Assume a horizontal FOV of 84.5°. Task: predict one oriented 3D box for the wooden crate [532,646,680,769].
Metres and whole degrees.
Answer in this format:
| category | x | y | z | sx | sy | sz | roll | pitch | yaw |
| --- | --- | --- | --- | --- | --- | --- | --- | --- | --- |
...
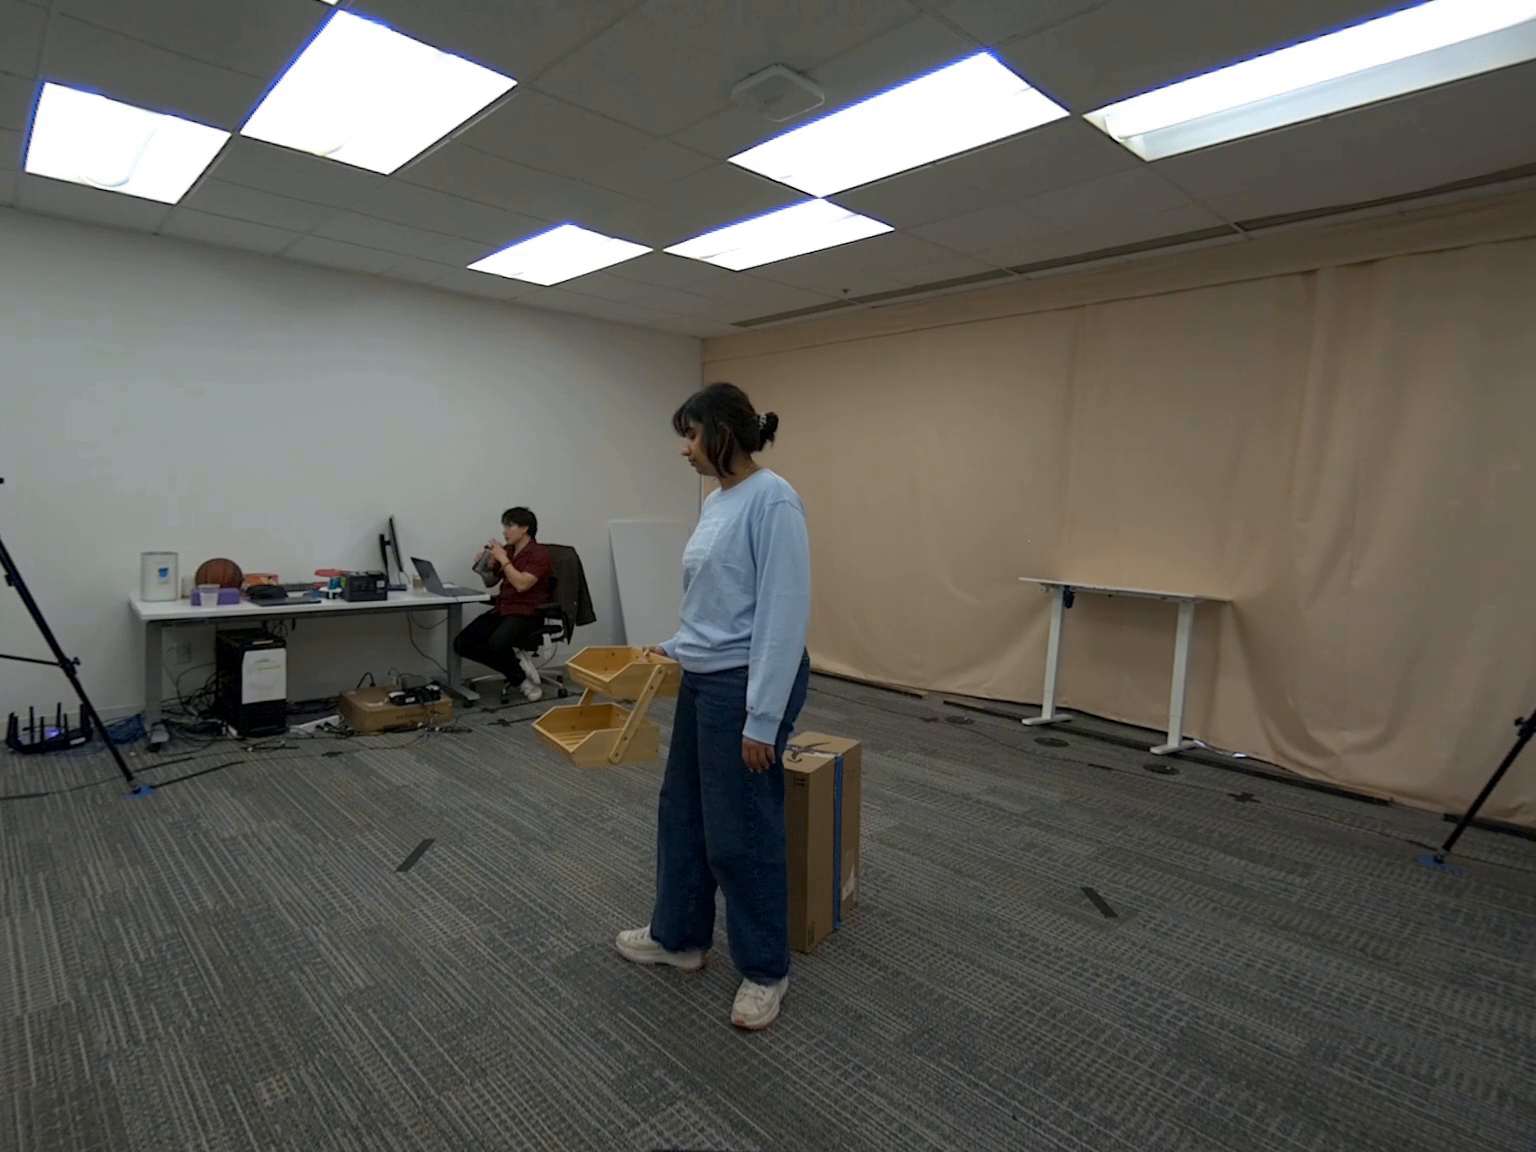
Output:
| category | x | y | z | sx | sy | sz | roll | pitch | yaw |
| --- | --- | --- | --- | --- | --- | --- | --- | --- | --- |
| wooden crate | -0.459 | 0.342 | 2.322 | 0.295 | 0.273 | 0.332 | 2 | 2 | -34 |
